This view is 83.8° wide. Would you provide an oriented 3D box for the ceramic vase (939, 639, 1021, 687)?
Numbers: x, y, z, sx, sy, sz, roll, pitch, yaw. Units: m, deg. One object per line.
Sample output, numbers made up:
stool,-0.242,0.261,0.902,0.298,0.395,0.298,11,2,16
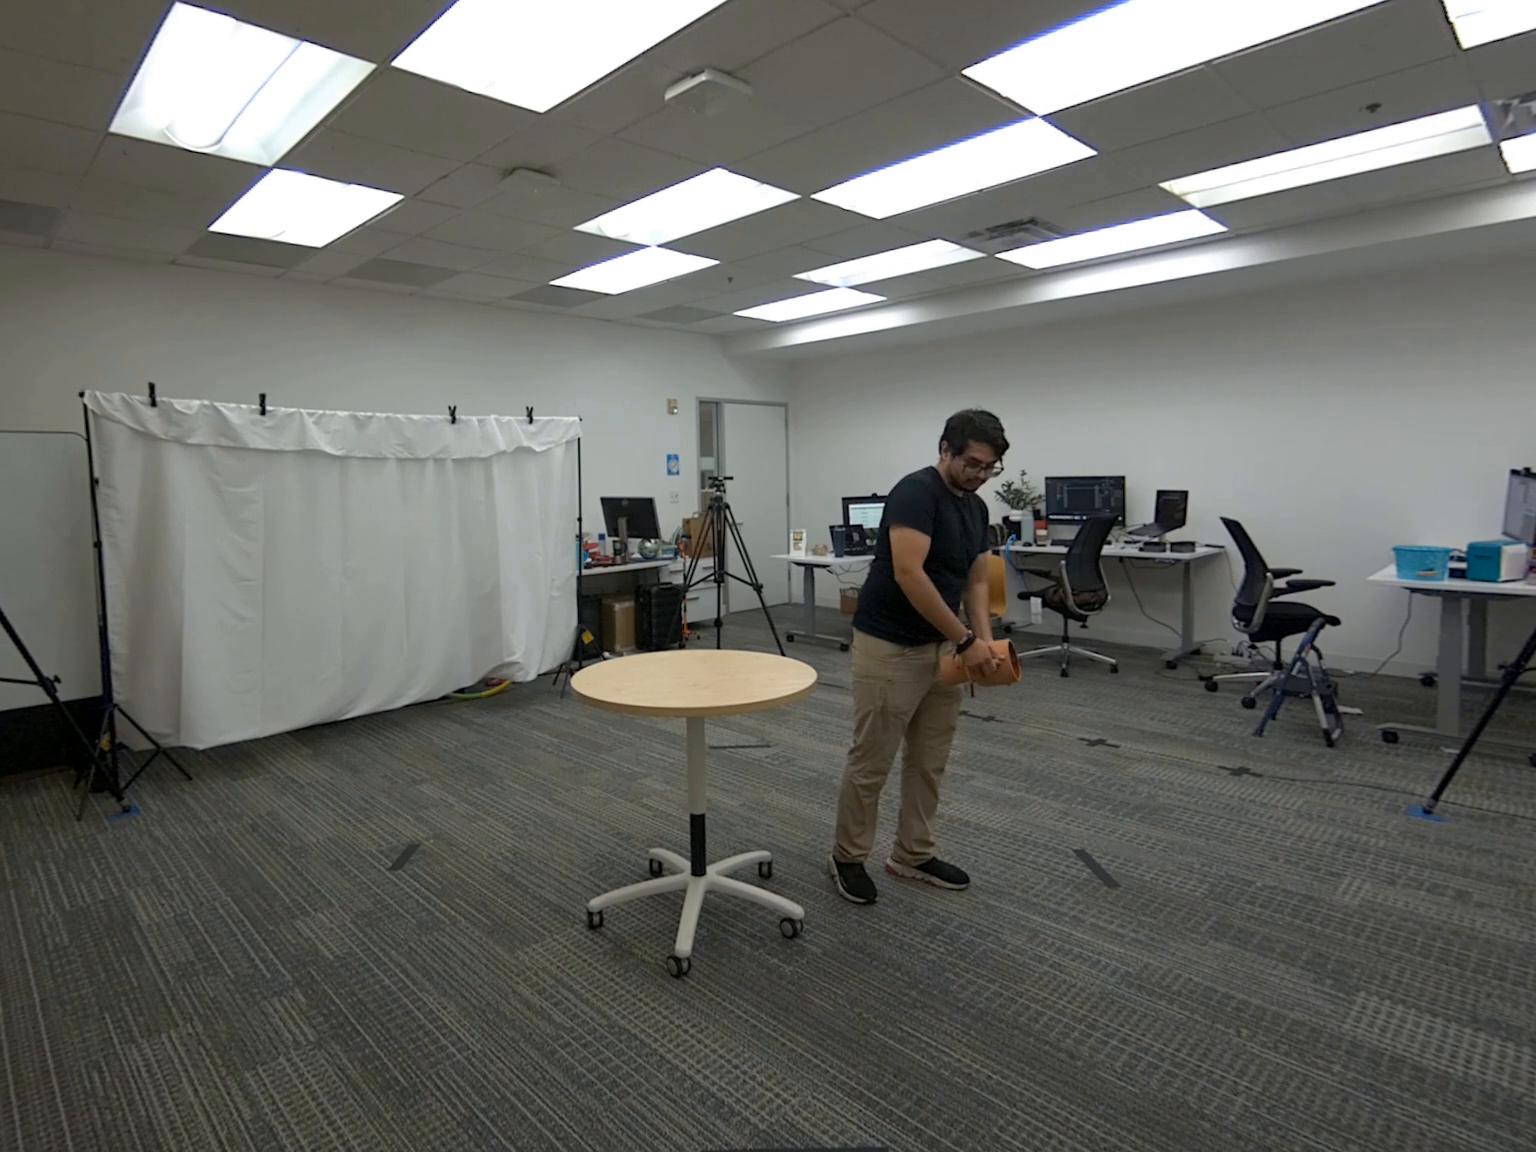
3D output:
ceramic vase,0.652,0.279,2.665,0.223,0.153,0.137,-17,37,28
